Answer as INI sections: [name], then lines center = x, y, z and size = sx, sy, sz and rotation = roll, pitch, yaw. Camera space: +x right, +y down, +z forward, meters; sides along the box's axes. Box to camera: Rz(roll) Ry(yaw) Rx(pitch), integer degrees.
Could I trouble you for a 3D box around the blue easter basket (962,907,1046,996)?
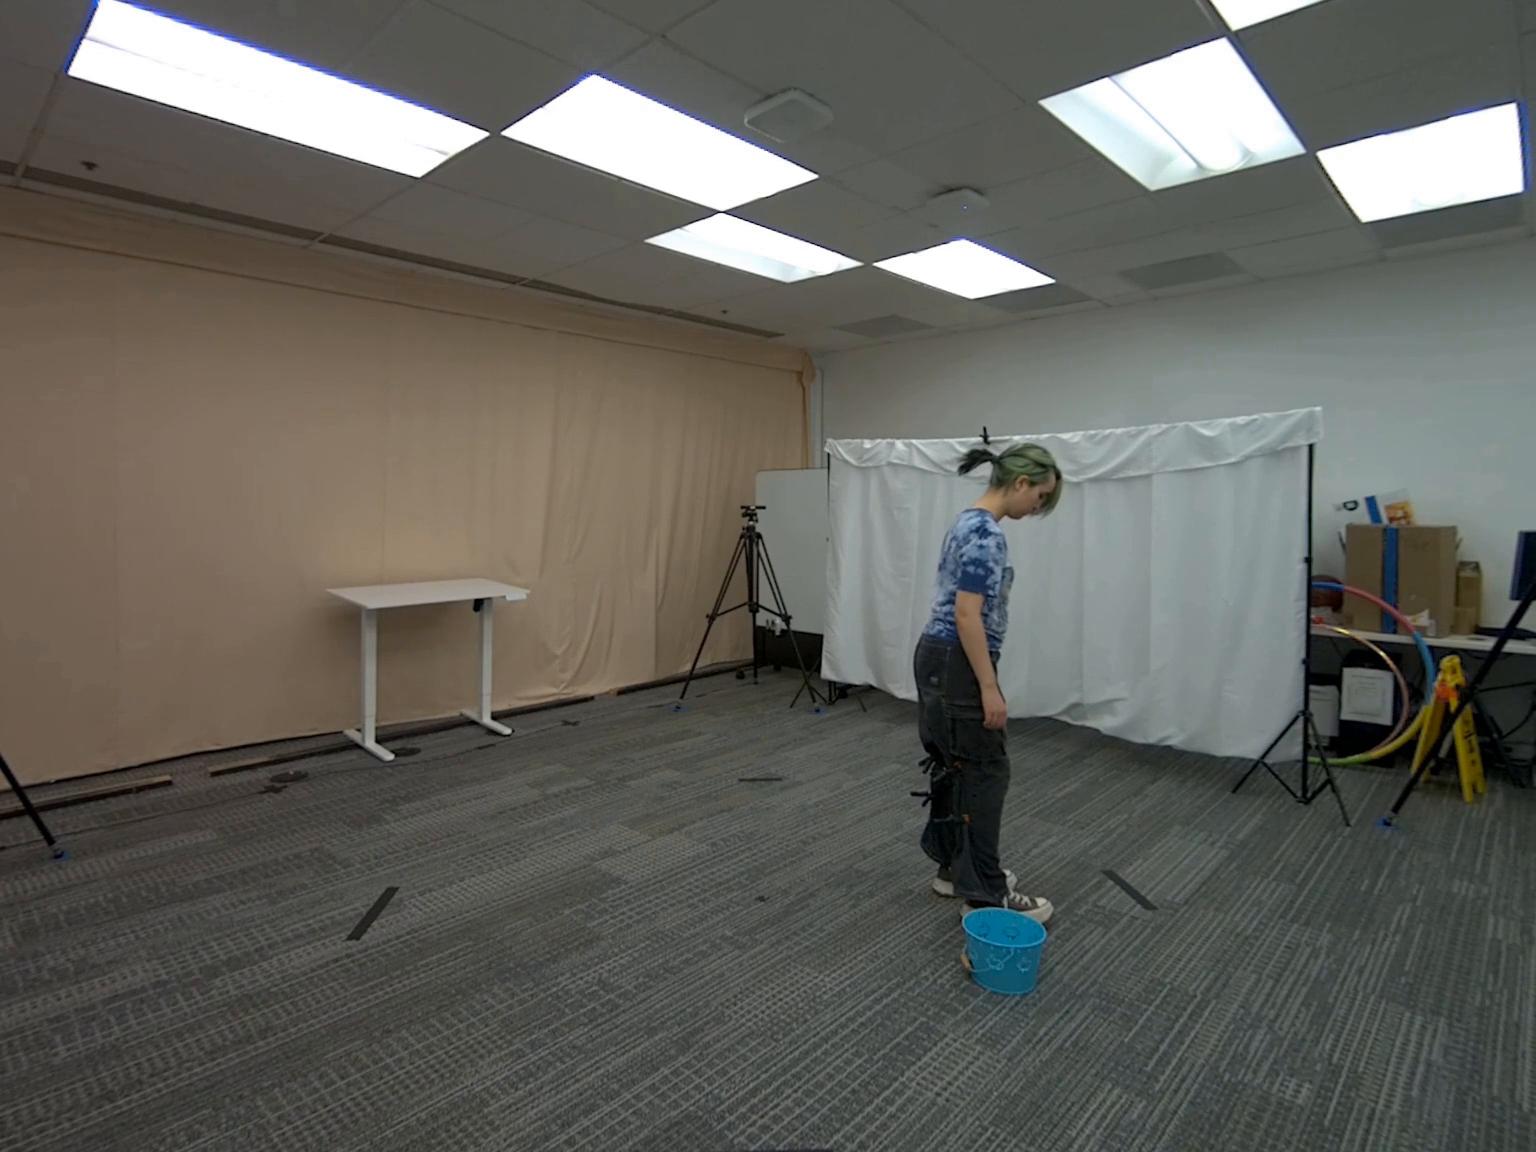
[blue easter basket]
center = 0.699, 1.105, 2.479
size = 0.243, 0.155, 0.244
rotation = 0, 4, -2
